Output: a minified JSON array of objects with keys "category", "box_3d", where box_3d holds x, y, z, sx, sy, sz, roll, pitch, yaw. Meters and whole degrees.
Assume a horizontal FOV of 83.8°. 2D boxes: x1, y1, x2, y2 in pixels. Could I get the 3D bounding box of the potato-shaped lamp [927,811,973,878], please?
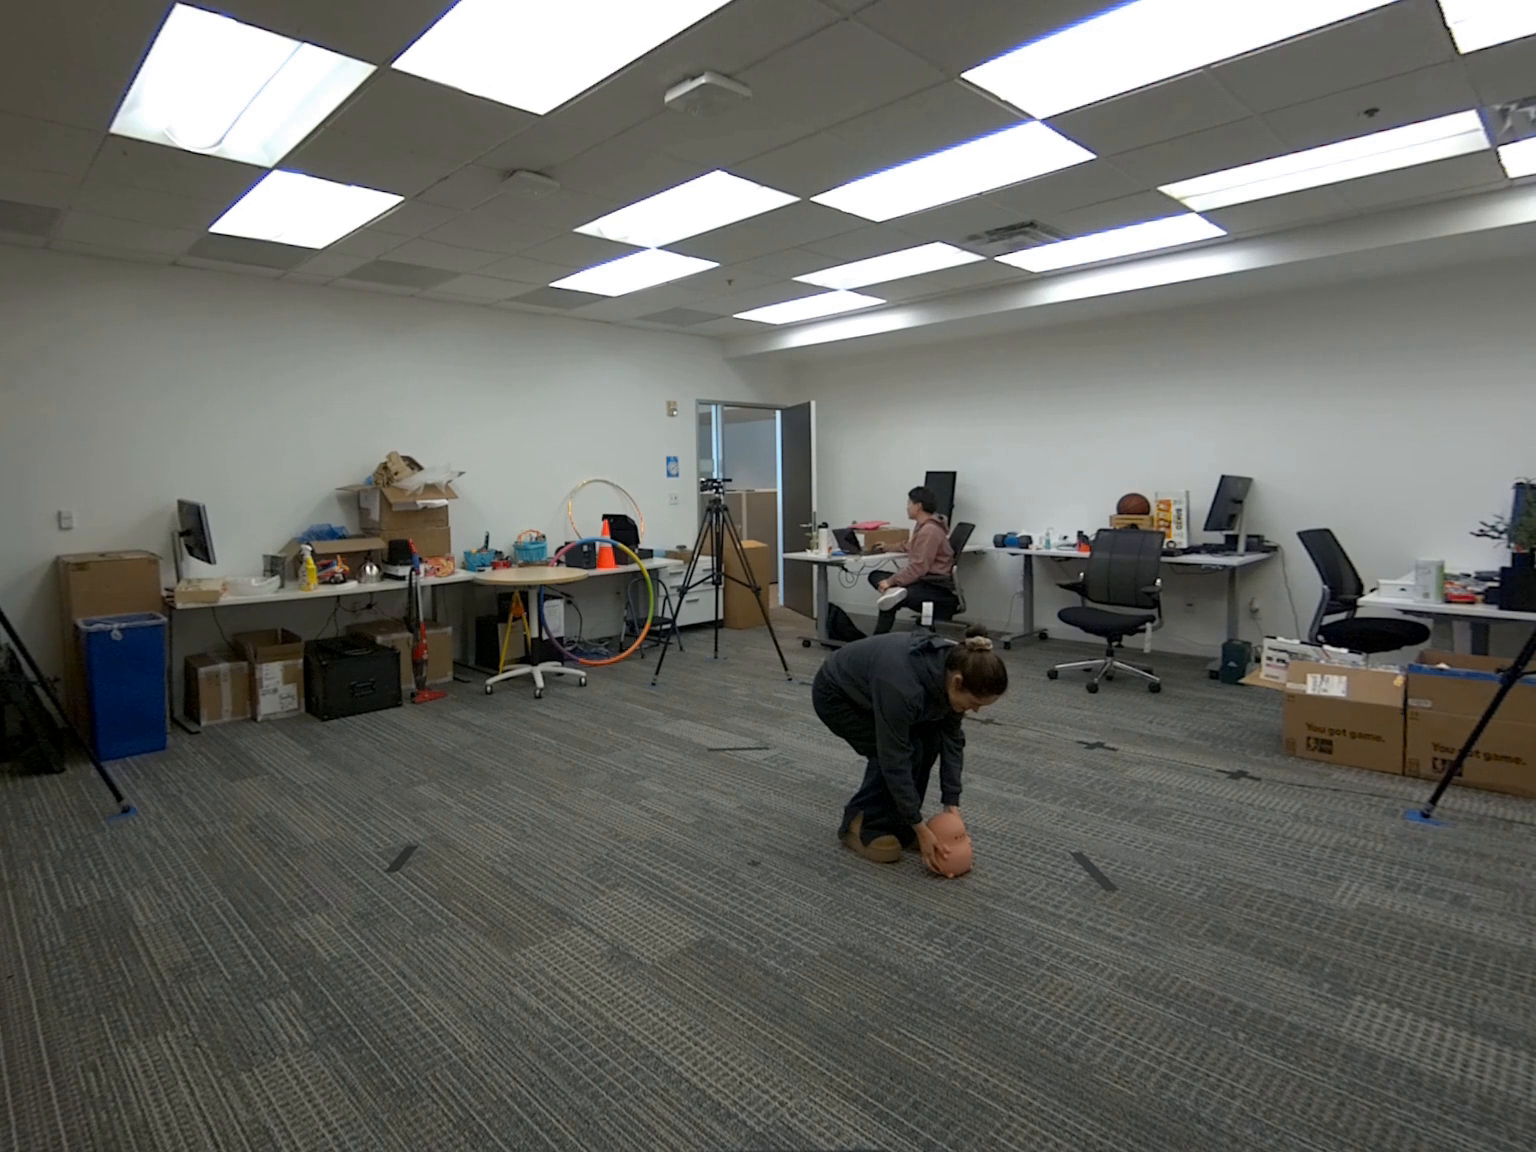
[{"category":"potato-shaped lamp","box_3d":[0.629,0.952,3.014,0.166,0.203,0.166,-35,-20,24]}]
